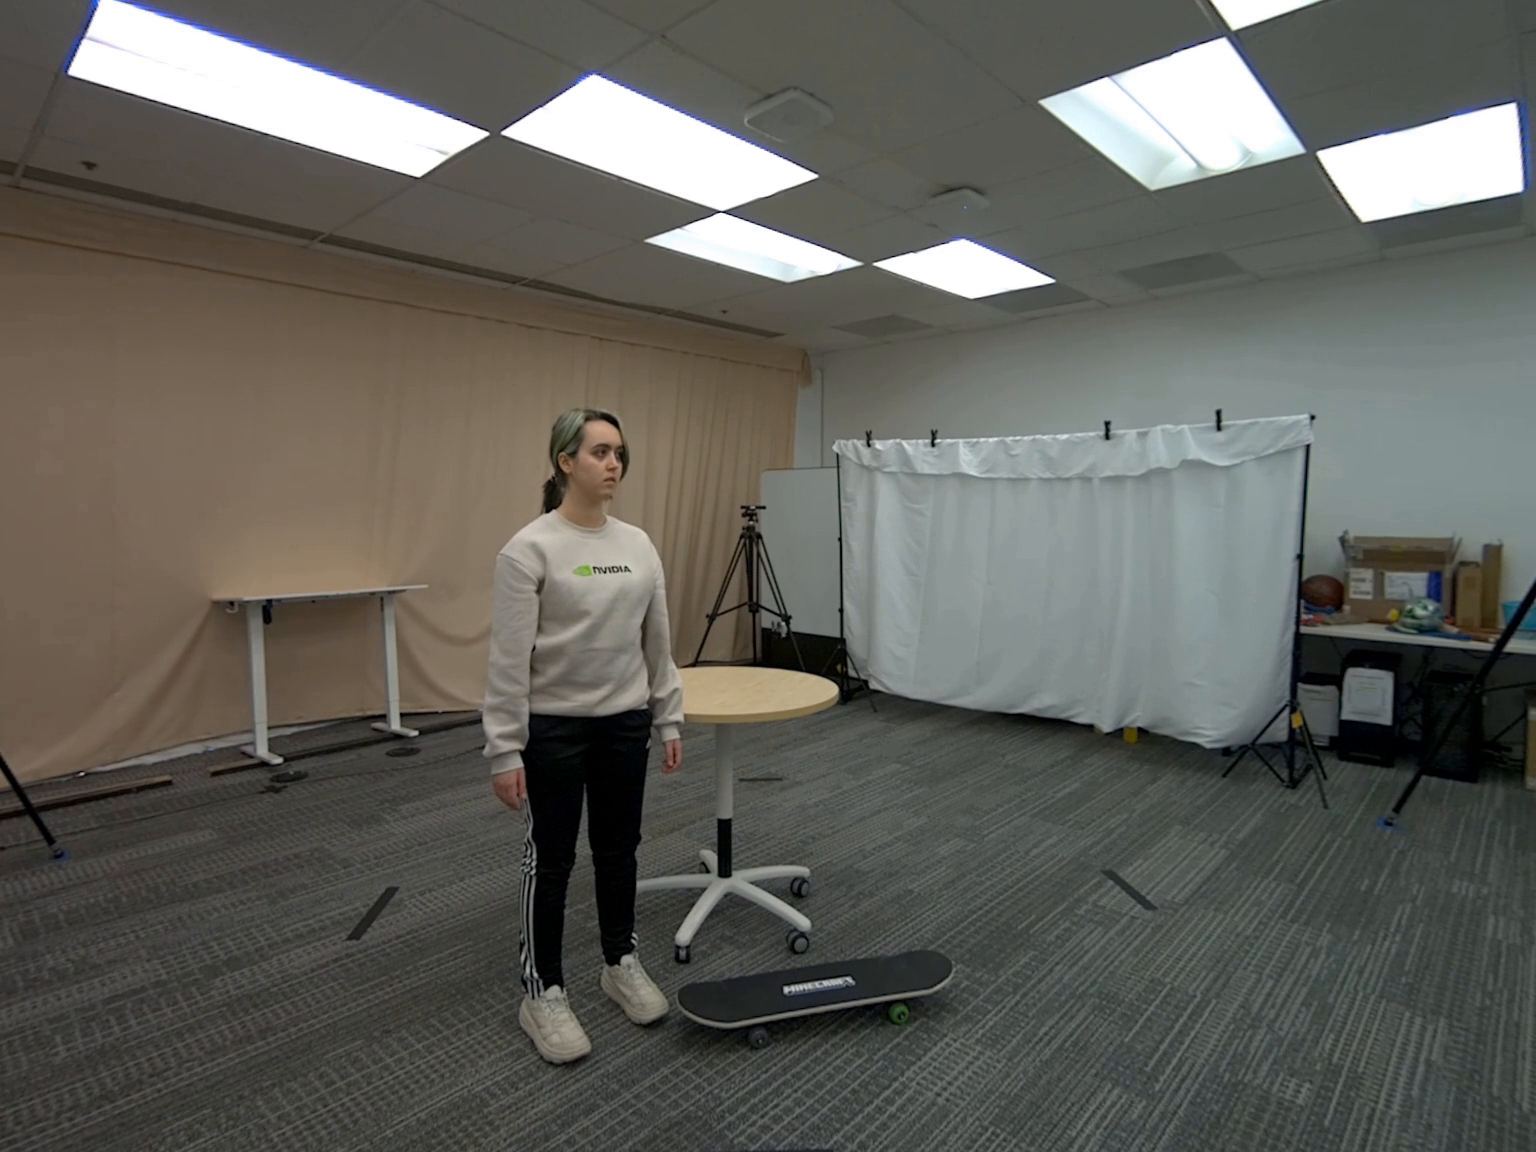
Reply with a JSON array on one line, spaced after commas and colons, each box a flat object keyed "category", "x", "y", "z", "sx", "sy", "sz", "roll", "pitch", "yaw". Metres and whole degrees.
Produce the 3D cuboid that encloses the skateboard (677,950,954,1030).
[{"category": "skateboard", "x": 0.139, "y": 1.138, "z": 2.297, "sx": 0.773, "sy": 0.110, "sz": 0.197, "roll": -2, "pitch": 8, "yaw": -15}]
